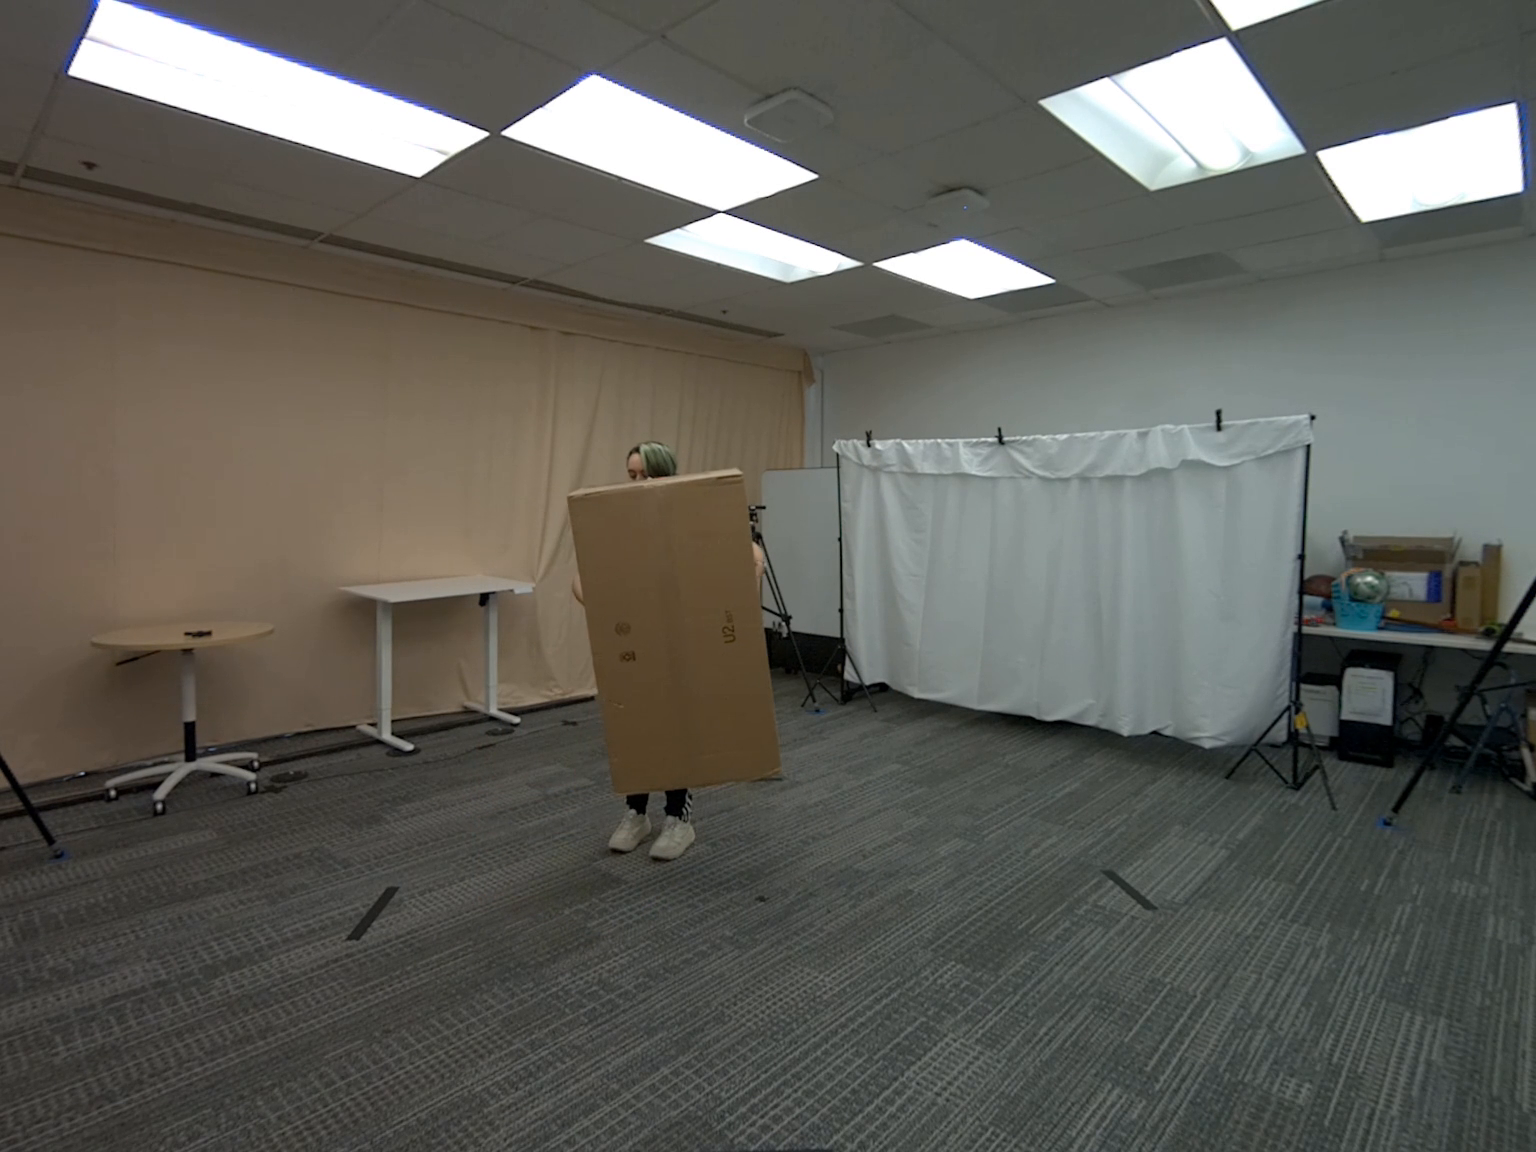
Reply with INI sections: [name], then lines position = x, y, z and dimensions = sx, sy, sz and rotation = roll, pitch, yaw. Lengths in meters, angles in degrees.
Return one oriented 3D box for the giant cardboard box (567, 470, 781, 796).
[giant cardboard box]
position = -0.326, 0.175, 2.948
dimensions = 0.577, 1.020, 0.429
rotation = -7, 8, -1
